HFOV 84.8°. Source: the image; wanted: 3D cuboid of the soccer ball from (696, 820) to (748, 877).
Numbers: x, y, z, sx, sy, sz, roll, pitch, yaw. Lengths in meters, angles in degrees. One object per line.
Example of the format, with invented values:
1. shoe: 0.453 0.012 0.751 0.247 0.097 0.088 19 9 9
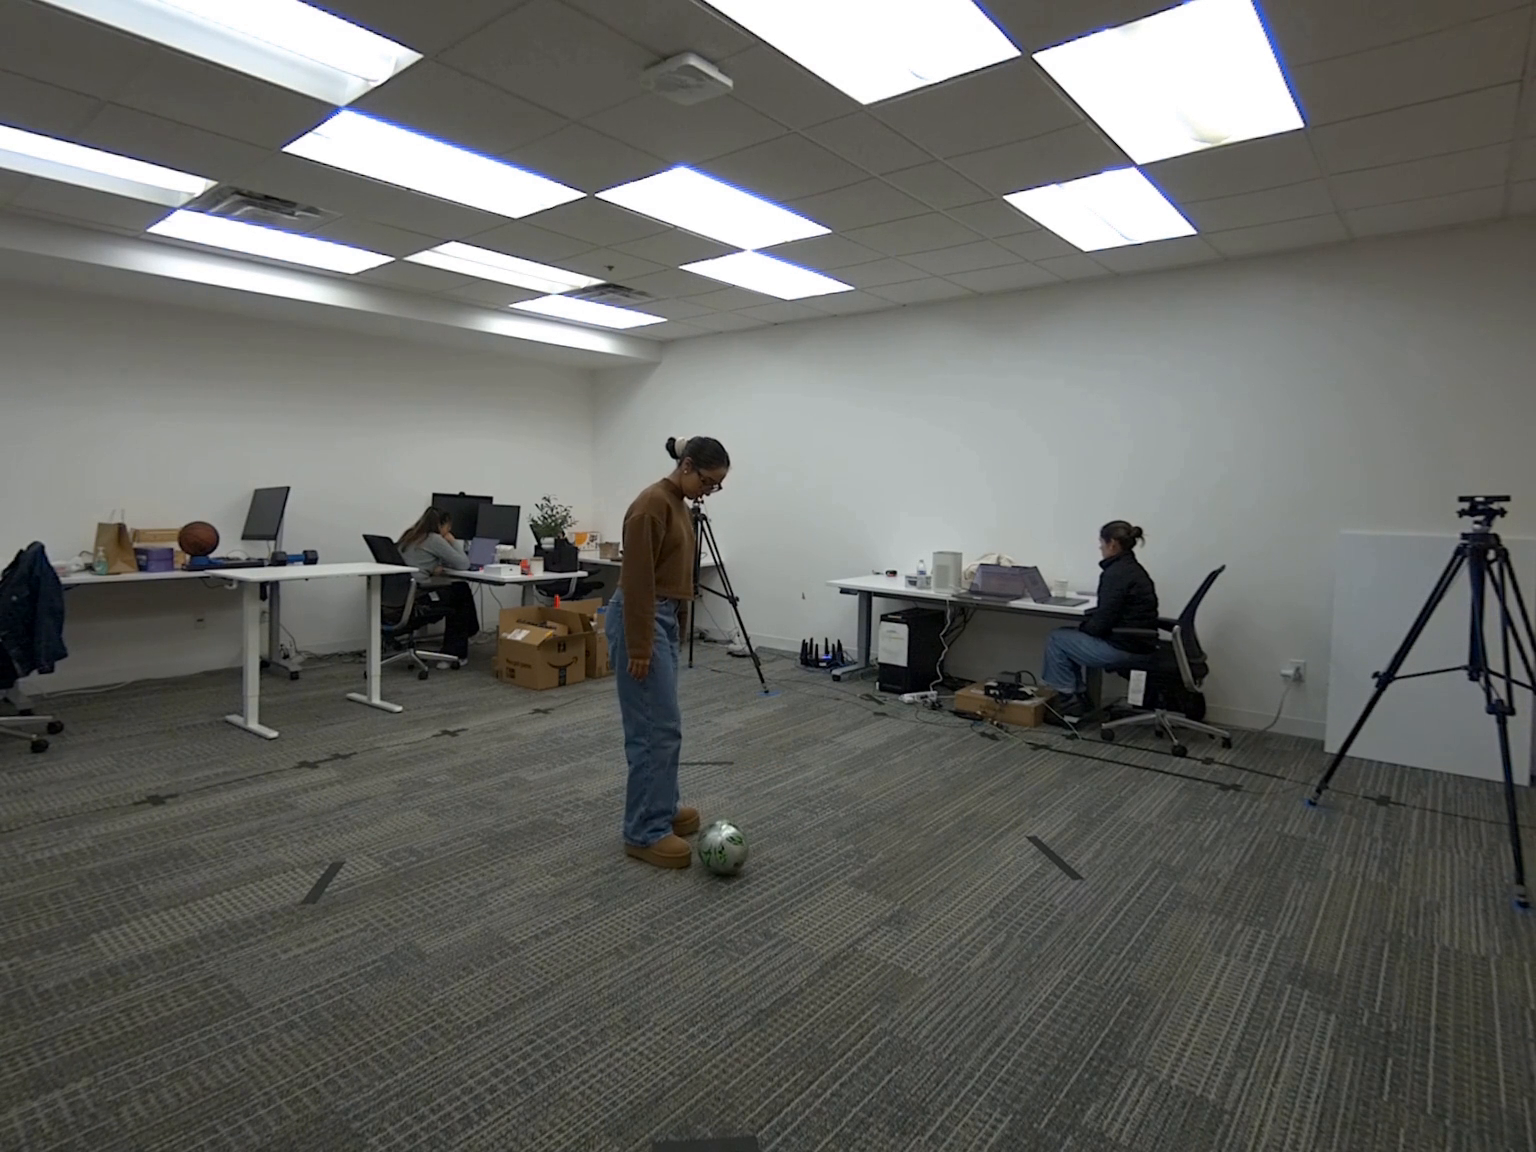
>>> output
1. soccer ball: -0.170 0.977 3.074 0.187 0.187 0.188 1 4 -2
